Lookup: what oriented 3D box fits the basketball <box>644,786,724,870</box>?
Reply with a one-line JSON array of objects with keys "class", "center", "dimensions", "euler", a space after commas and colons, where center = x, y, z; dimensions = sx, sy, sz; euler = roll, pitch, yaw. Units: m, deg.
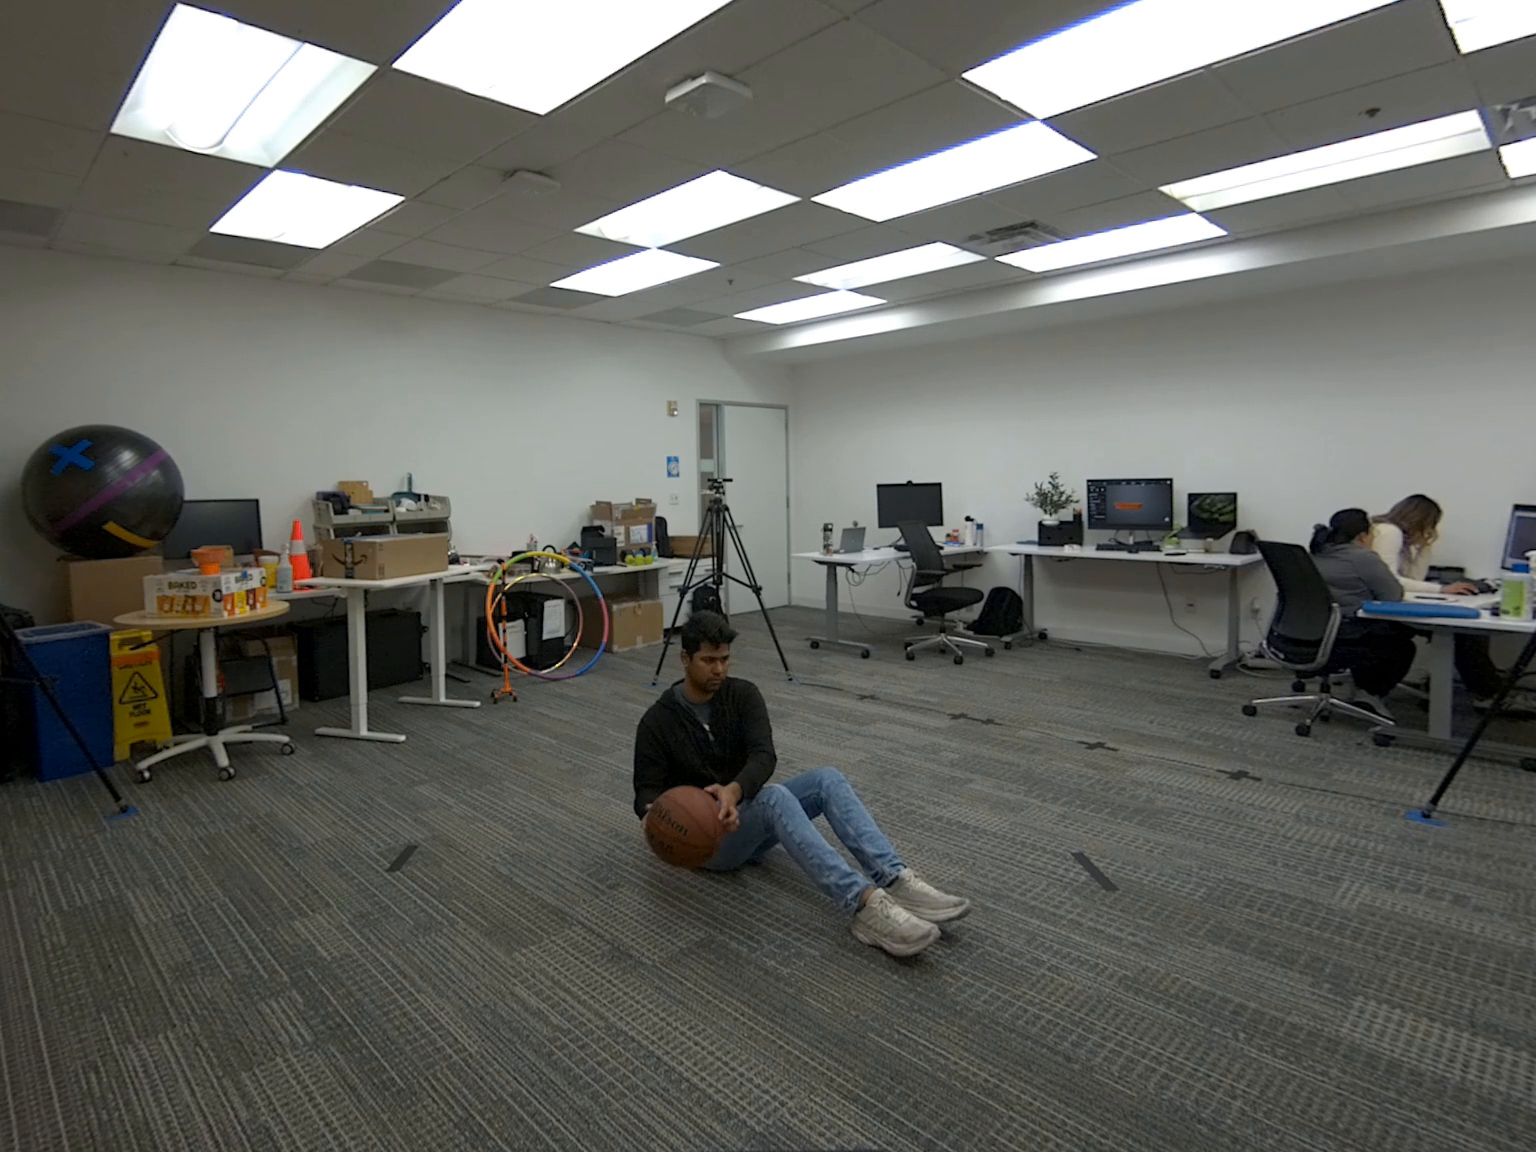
[{"class": "basketball", "center": [-0.238, 0.767, 2.630], "dimensions": [0.236, 0.235, 0.237], "euler": [-1, 5, -2]}]
